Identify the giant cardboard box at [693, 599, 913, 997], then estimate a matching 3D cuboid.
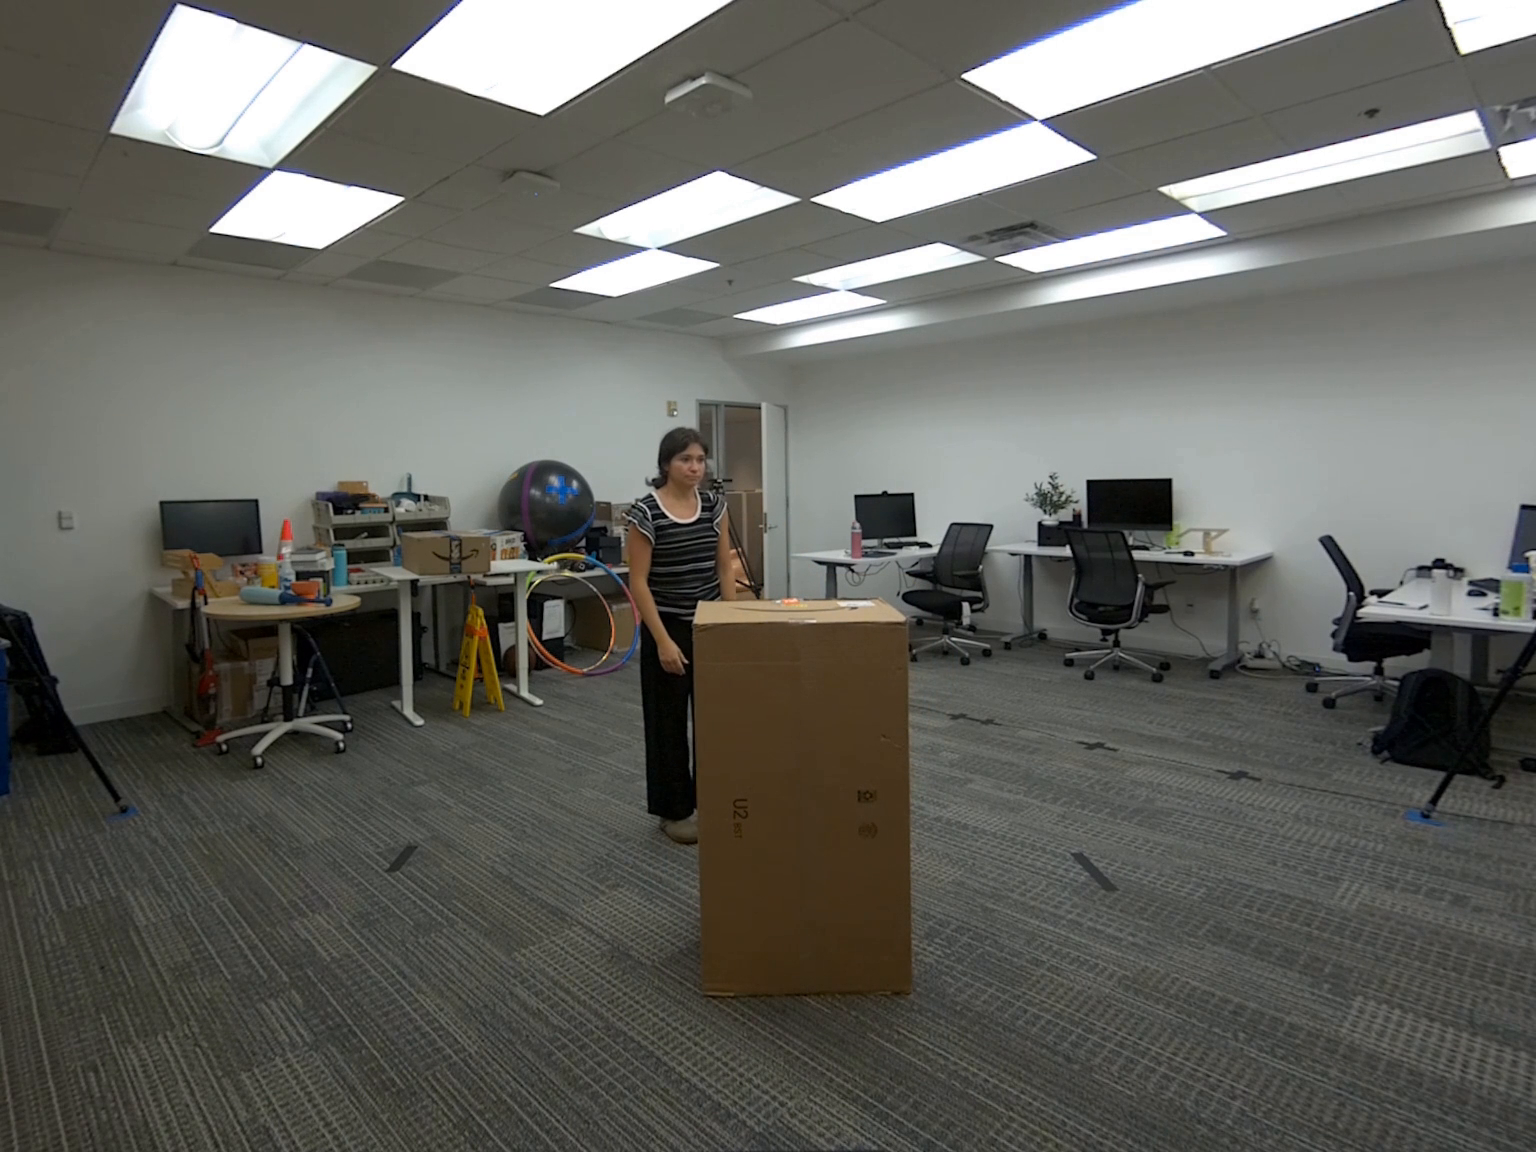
[{"bbox_3d":[0.096,0.605,2.488,0.577,1.022,0.428,-1,4,-1],"label":"giant cardboard box"}]
